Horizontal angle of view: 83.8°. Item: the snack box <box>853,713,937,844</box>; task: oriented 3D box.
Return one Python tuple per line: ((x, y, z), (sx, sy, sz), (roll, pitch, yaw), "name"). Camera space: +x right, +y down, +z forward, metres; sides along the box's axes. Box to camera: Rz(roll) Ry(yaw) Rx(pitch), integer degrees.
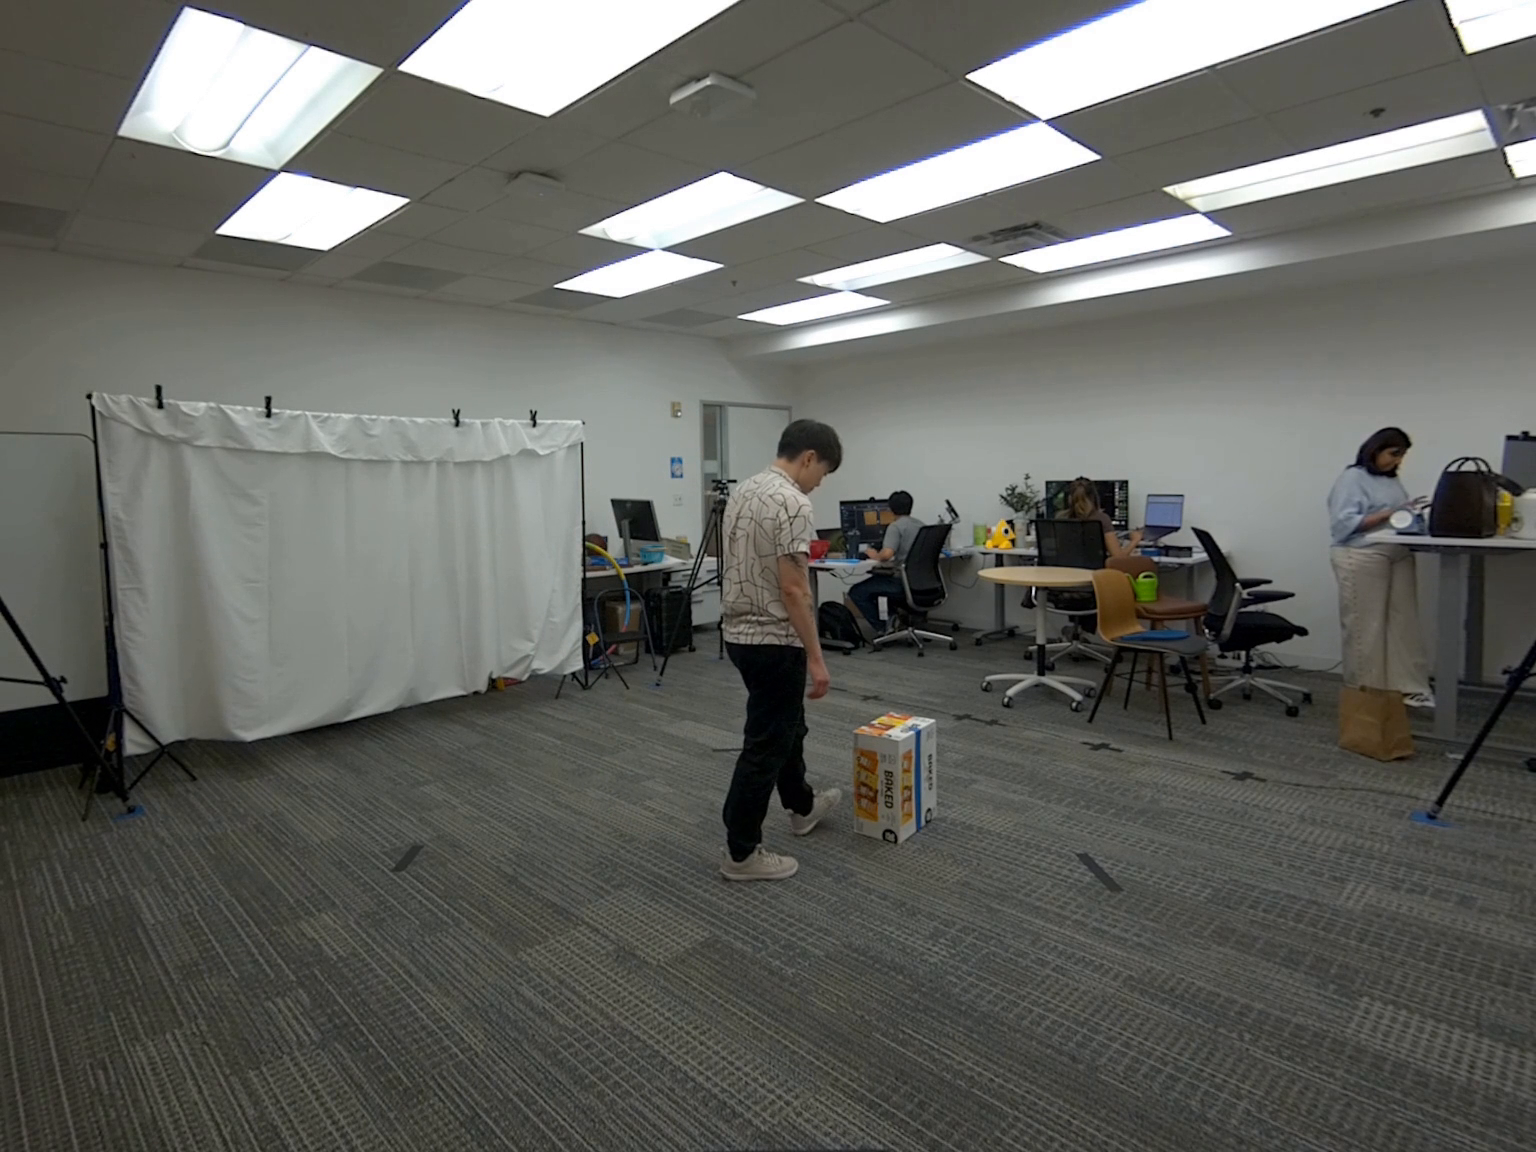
((0.514, 0.798, 3.433), (0.211, 0.403, 0.332), (2, 6, 36), "snack box")
